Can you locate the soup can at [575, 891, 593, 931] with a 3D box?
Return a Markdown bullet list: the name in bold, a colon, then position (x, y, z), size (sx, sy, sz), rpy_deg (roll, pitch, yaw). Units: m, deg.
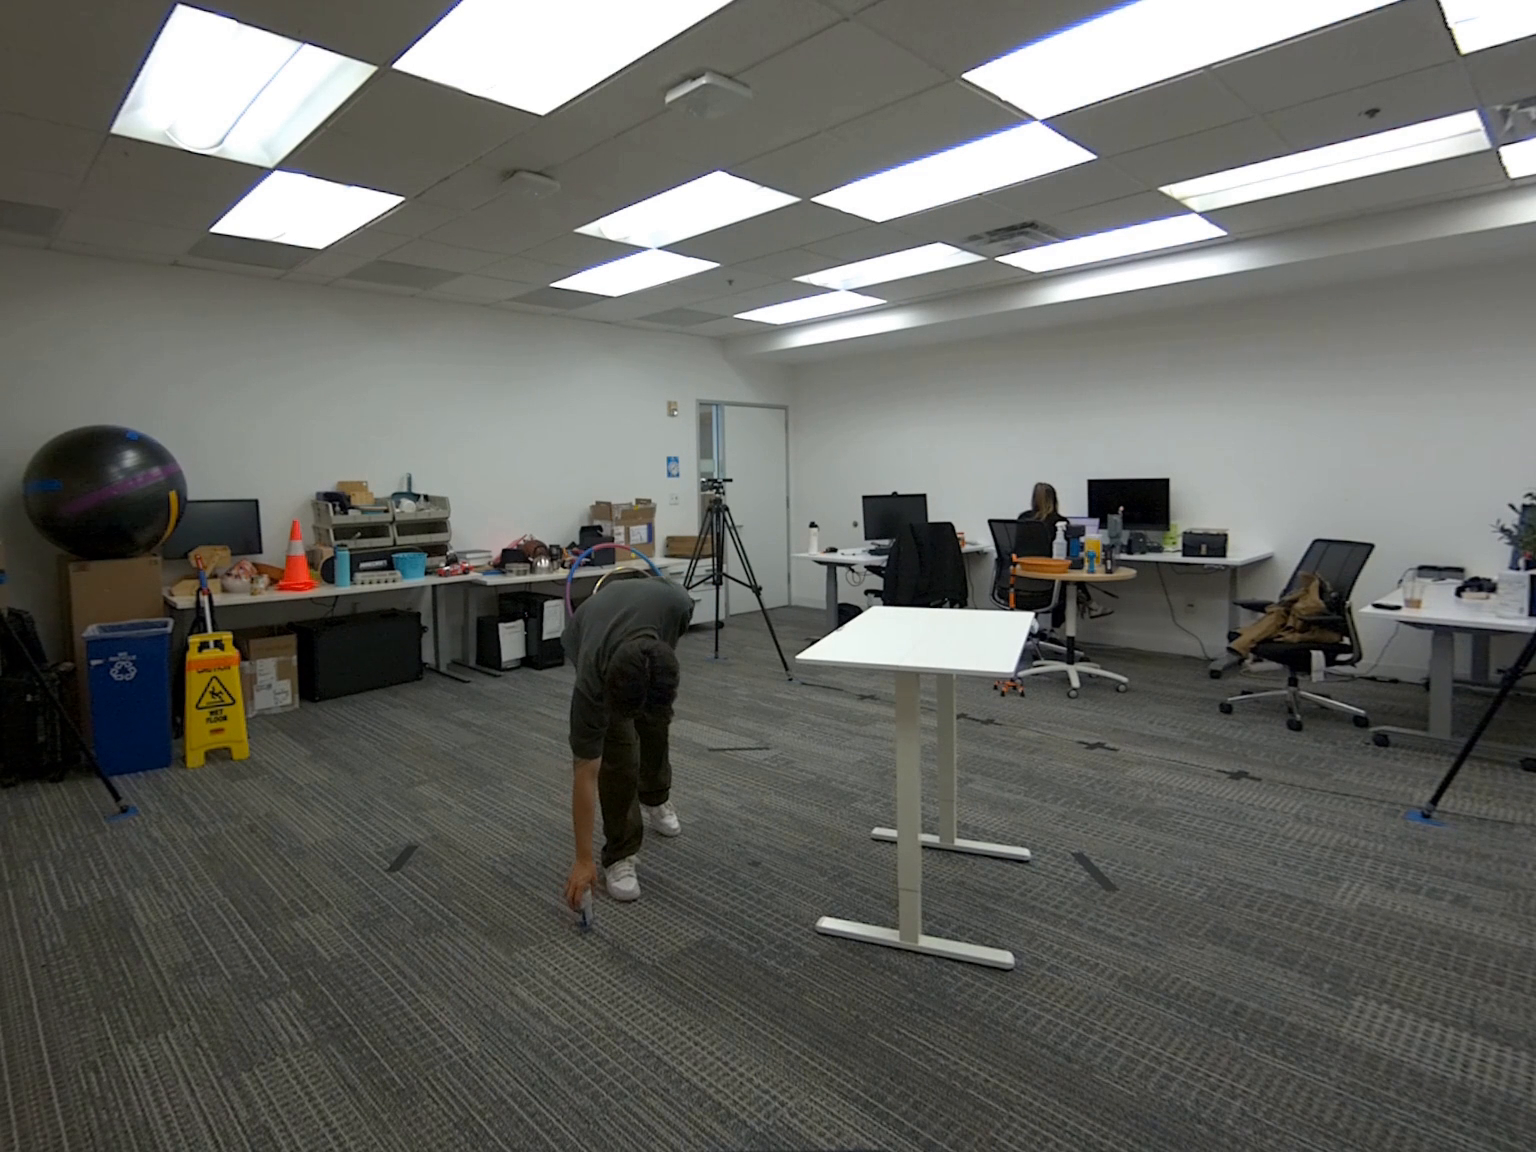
- **soup can**: position (-0.580, 1.022, 2.657), size (0.067, 0.120, 0.068), rpy_deg (-7, 14, 0)
